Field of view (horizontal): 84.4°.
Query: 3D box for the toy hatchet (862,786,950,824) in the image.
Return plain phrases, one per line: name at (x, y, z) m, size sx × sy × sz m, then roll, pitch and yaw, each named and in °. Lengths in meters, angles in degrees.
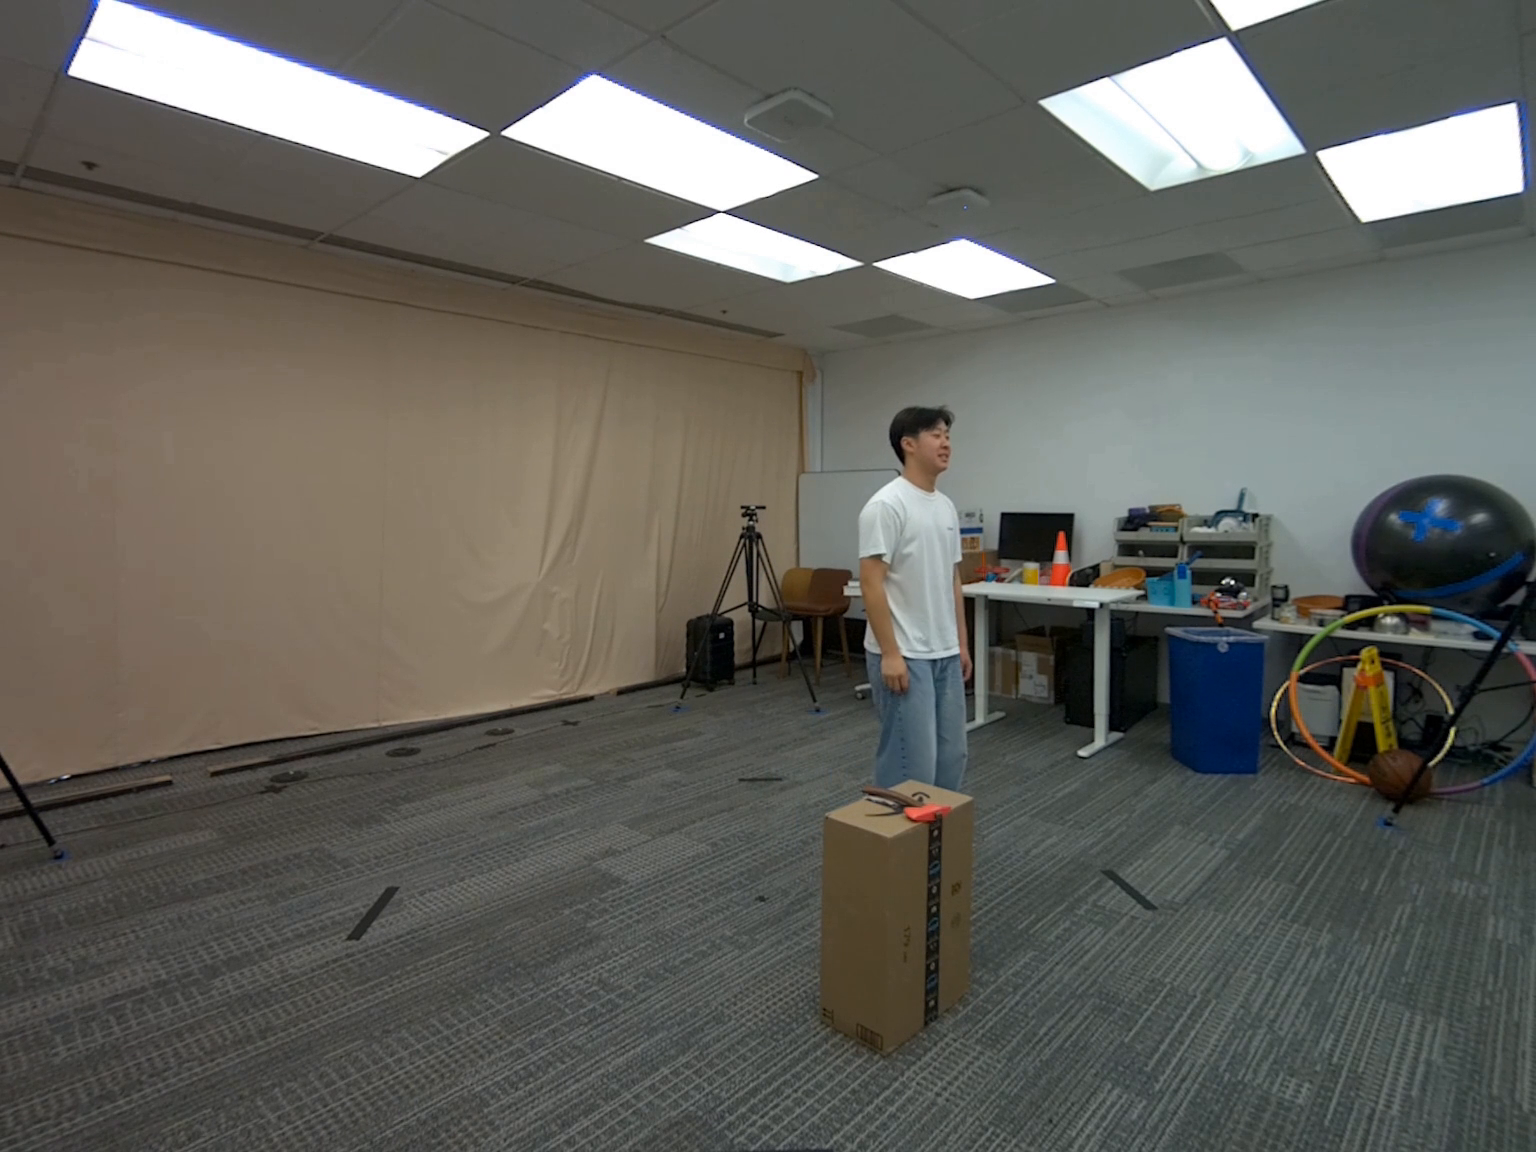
toy hatchet at (0.356, 0.621, 2.301) m, size 0.279 × 0.029 × 0.127 m, roll 3°, pitch 10°, yaw 41°
